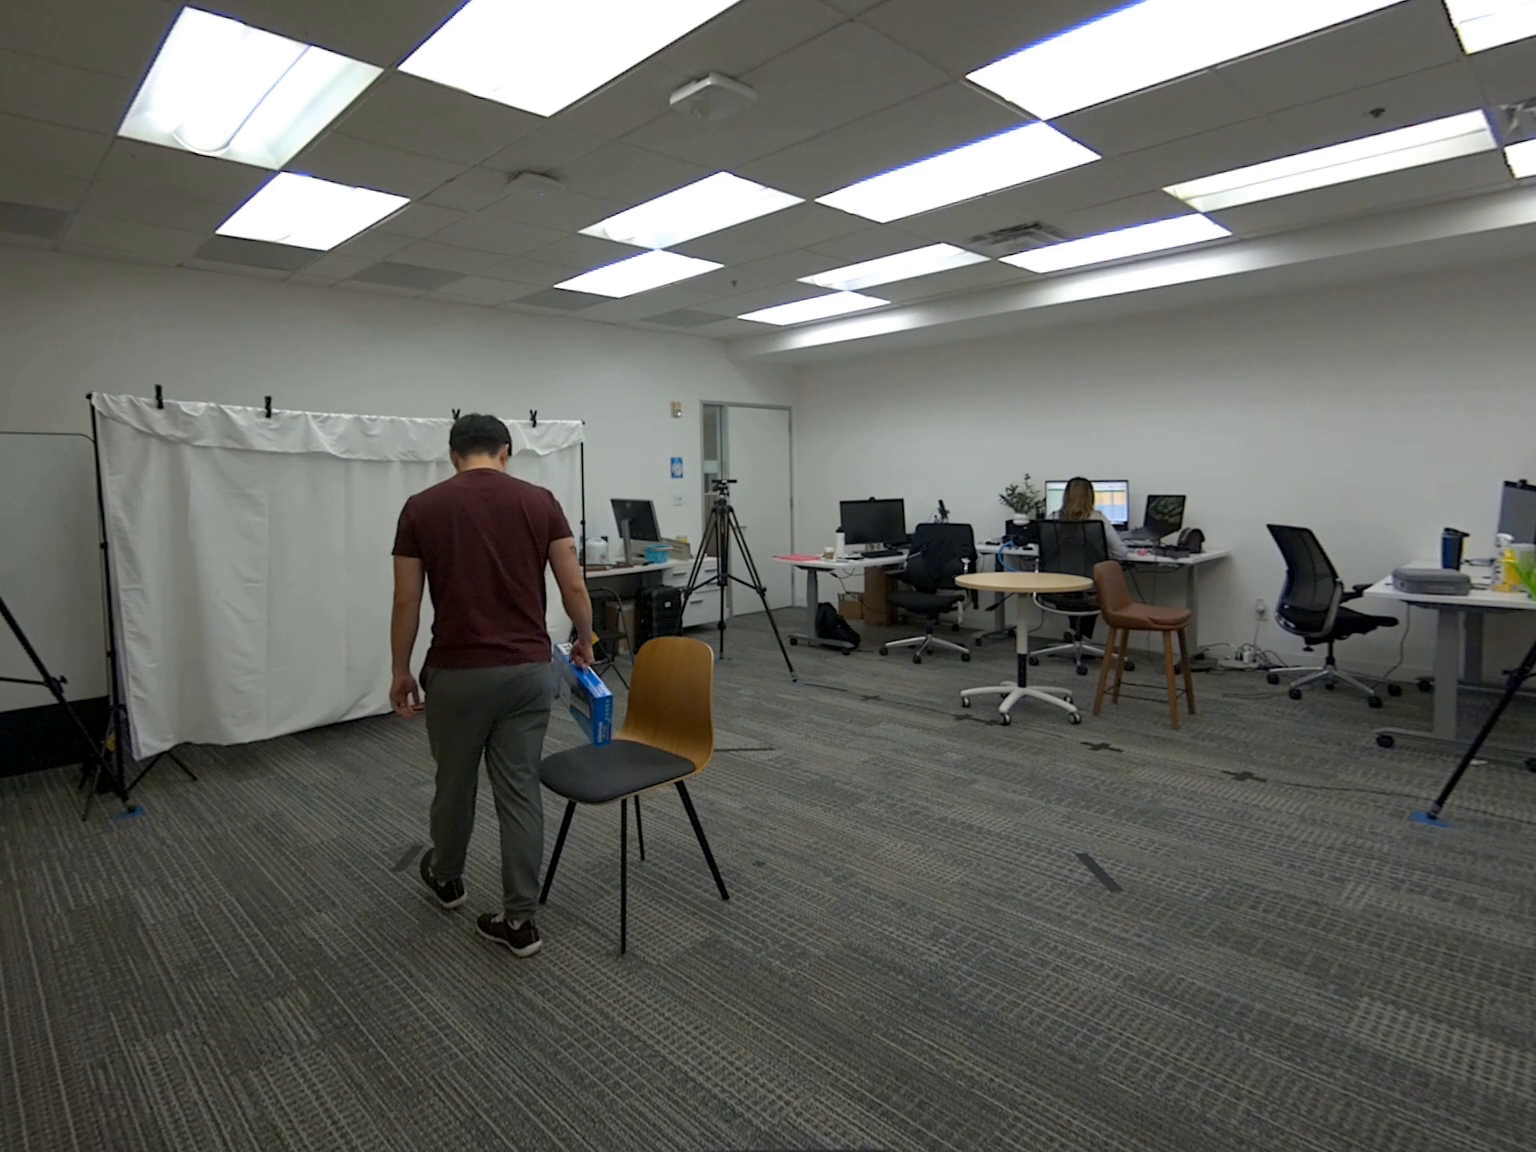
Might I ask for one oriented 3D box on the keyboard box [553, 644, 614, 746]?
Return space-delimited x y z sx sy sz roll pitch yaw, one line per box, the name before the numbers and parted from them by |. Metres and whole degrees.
keyboard box | -0.630 0.395 2.872 0.058 0.174 0.452 -3 19 -29
